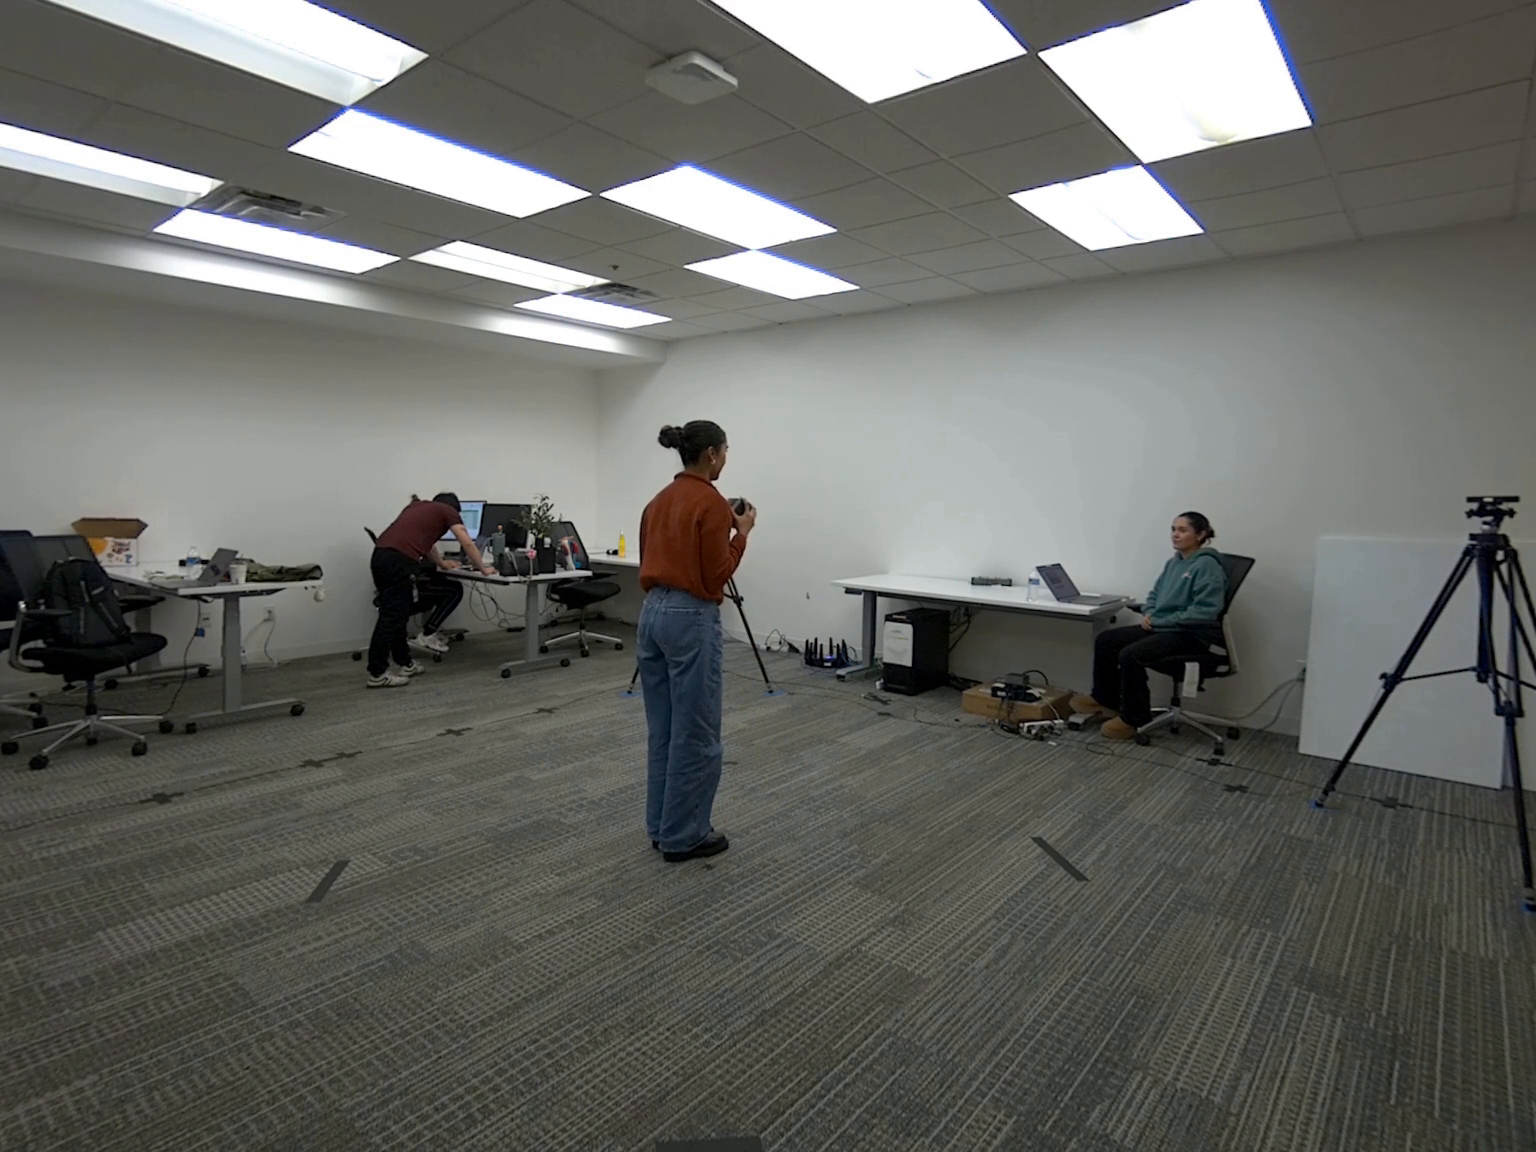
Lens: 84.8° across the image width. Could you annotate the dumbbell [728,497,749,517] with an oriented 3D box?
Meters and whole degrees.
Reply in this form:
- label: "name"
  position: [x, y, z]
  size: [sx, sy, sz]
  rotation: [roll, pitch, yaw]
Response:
- label: "dumbbell"
  position: [-0.206, -0.233, 3.339]
  size: [0.303, 0.105, 0.123]
  rotation: [6, 47, 46]
